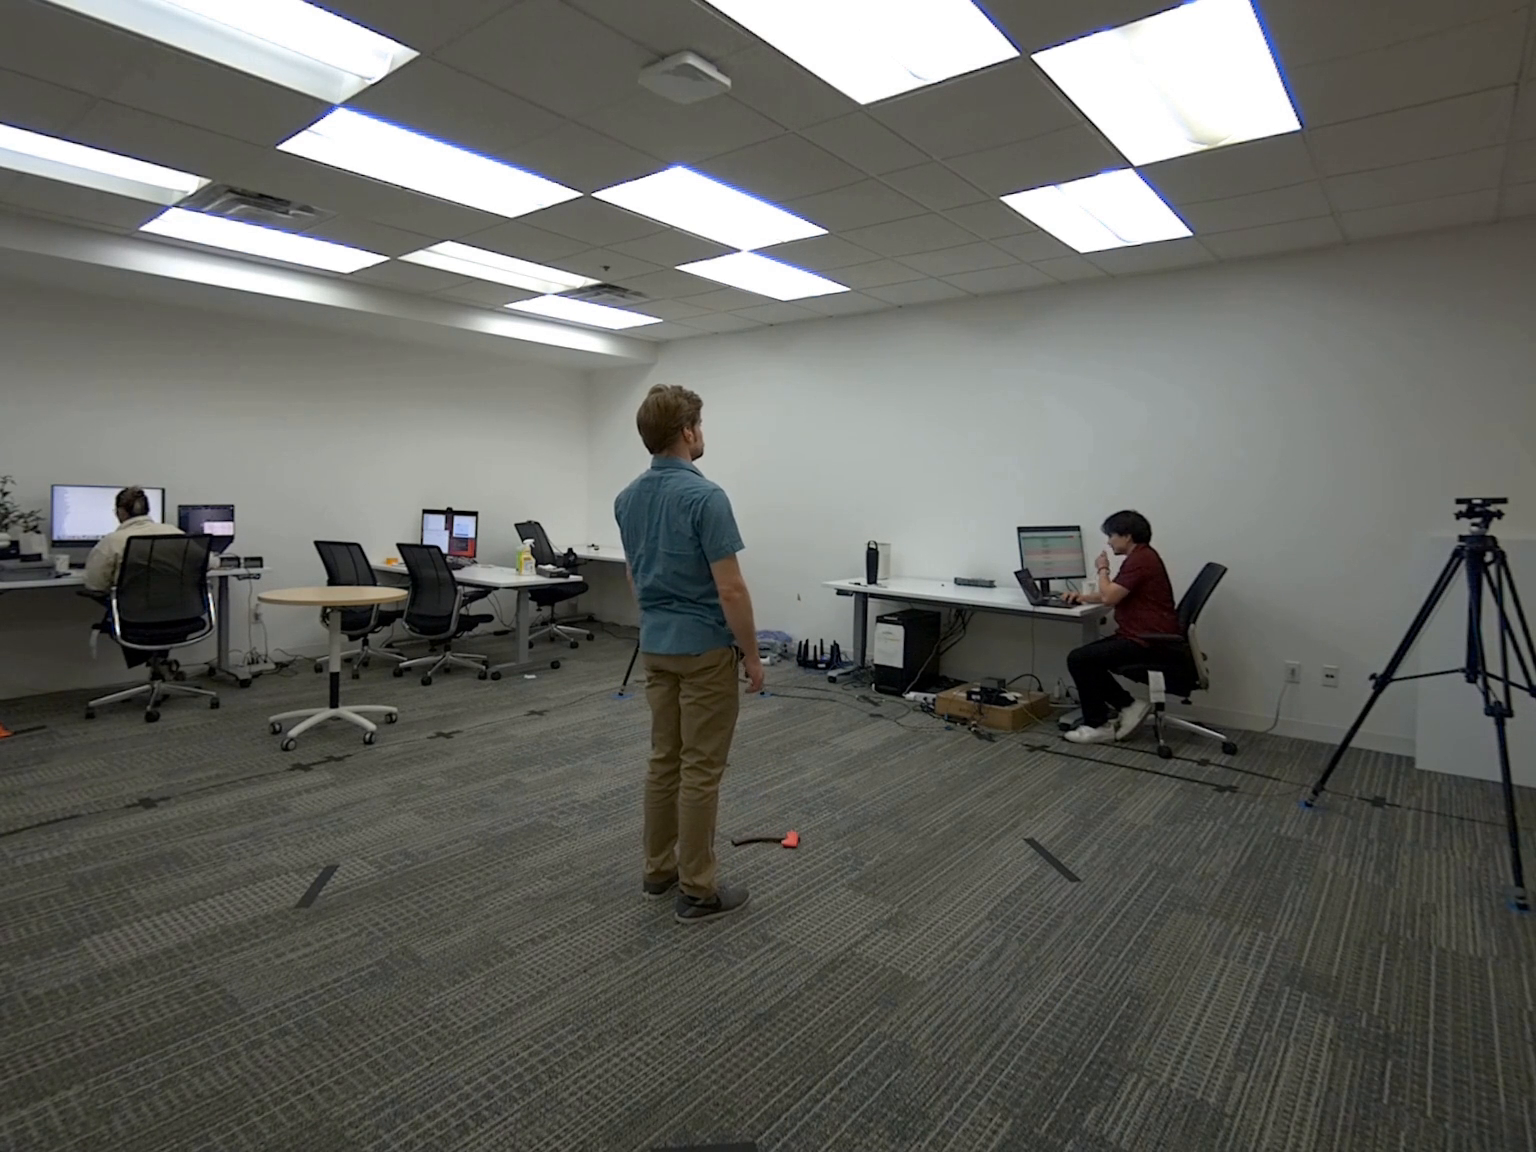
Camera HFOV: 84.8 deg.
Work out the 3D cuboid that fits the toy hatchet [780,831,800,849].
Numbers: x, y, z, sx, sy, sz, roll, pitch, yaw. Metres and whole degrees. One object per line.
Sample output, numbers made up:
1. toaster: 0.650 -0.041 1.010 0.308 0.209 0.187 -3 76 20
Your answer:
1. toy hatchet: -0.005 1.043 3.329 0.264 0.029 0.135 -4 9 -22
